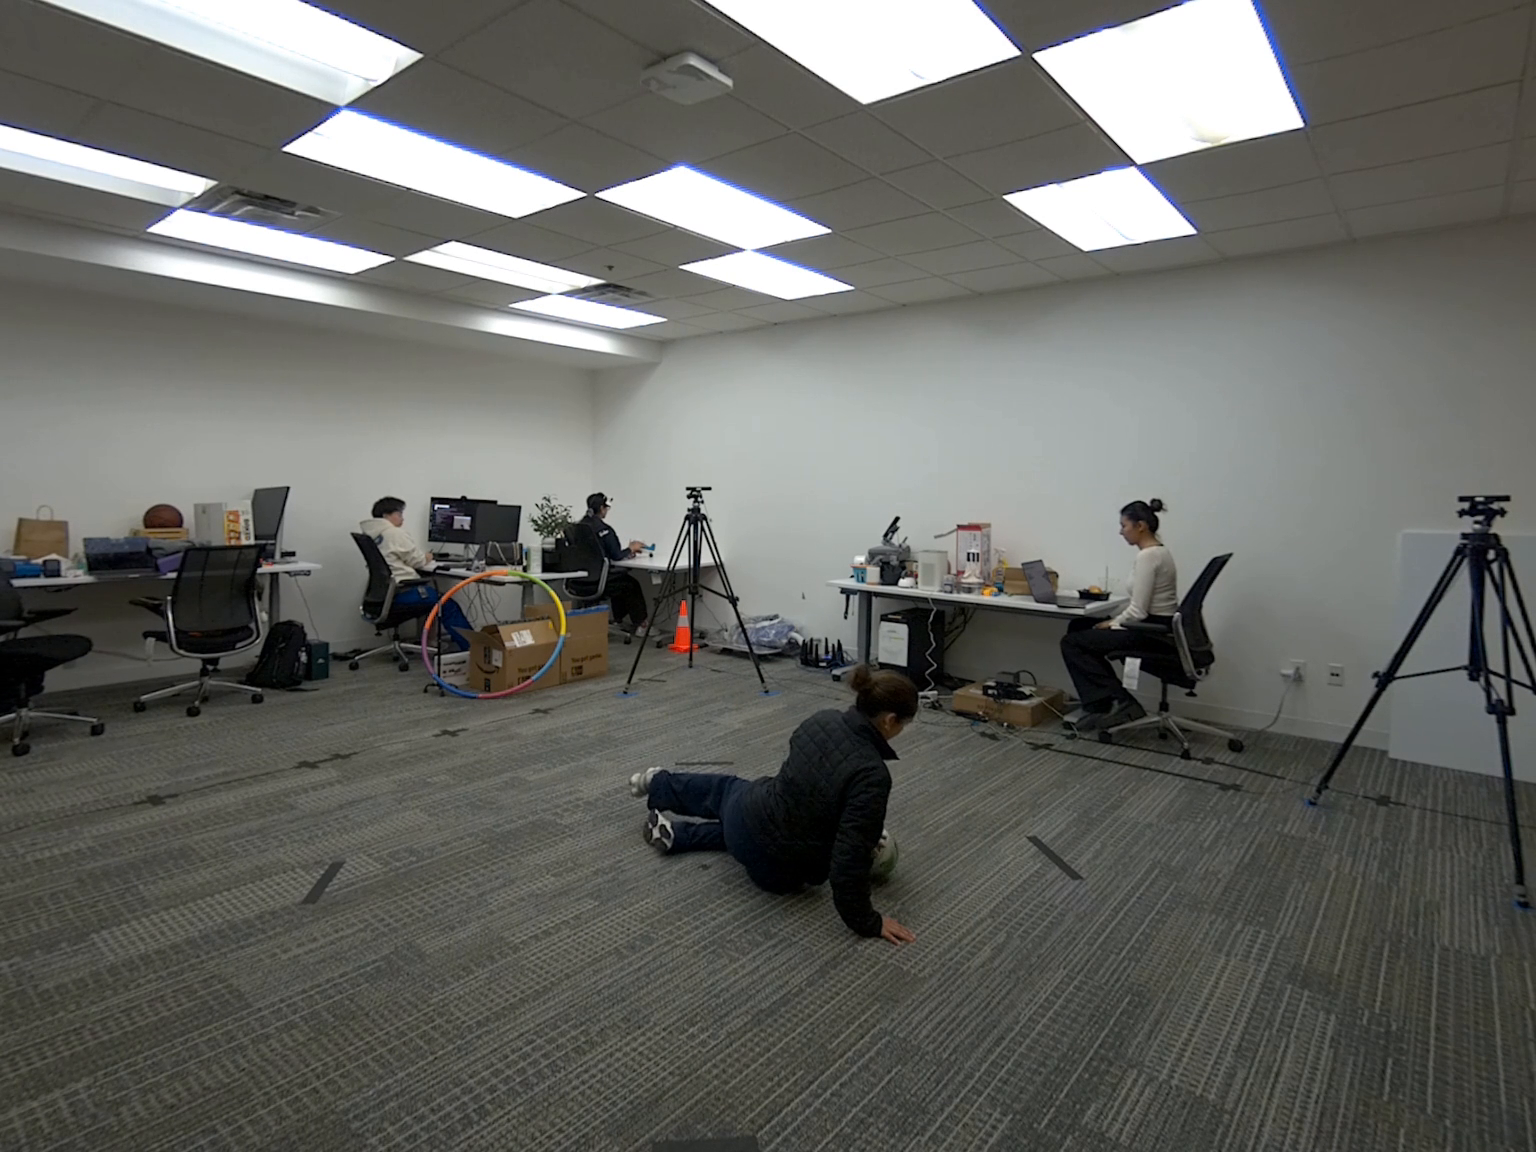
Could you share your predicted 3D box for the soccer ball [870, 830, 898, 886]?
[{"bbox_3d":[0.365,0.992,3.059,0.187,0.187,0.188,1,4,-2],"label":"soccer ball"}]
